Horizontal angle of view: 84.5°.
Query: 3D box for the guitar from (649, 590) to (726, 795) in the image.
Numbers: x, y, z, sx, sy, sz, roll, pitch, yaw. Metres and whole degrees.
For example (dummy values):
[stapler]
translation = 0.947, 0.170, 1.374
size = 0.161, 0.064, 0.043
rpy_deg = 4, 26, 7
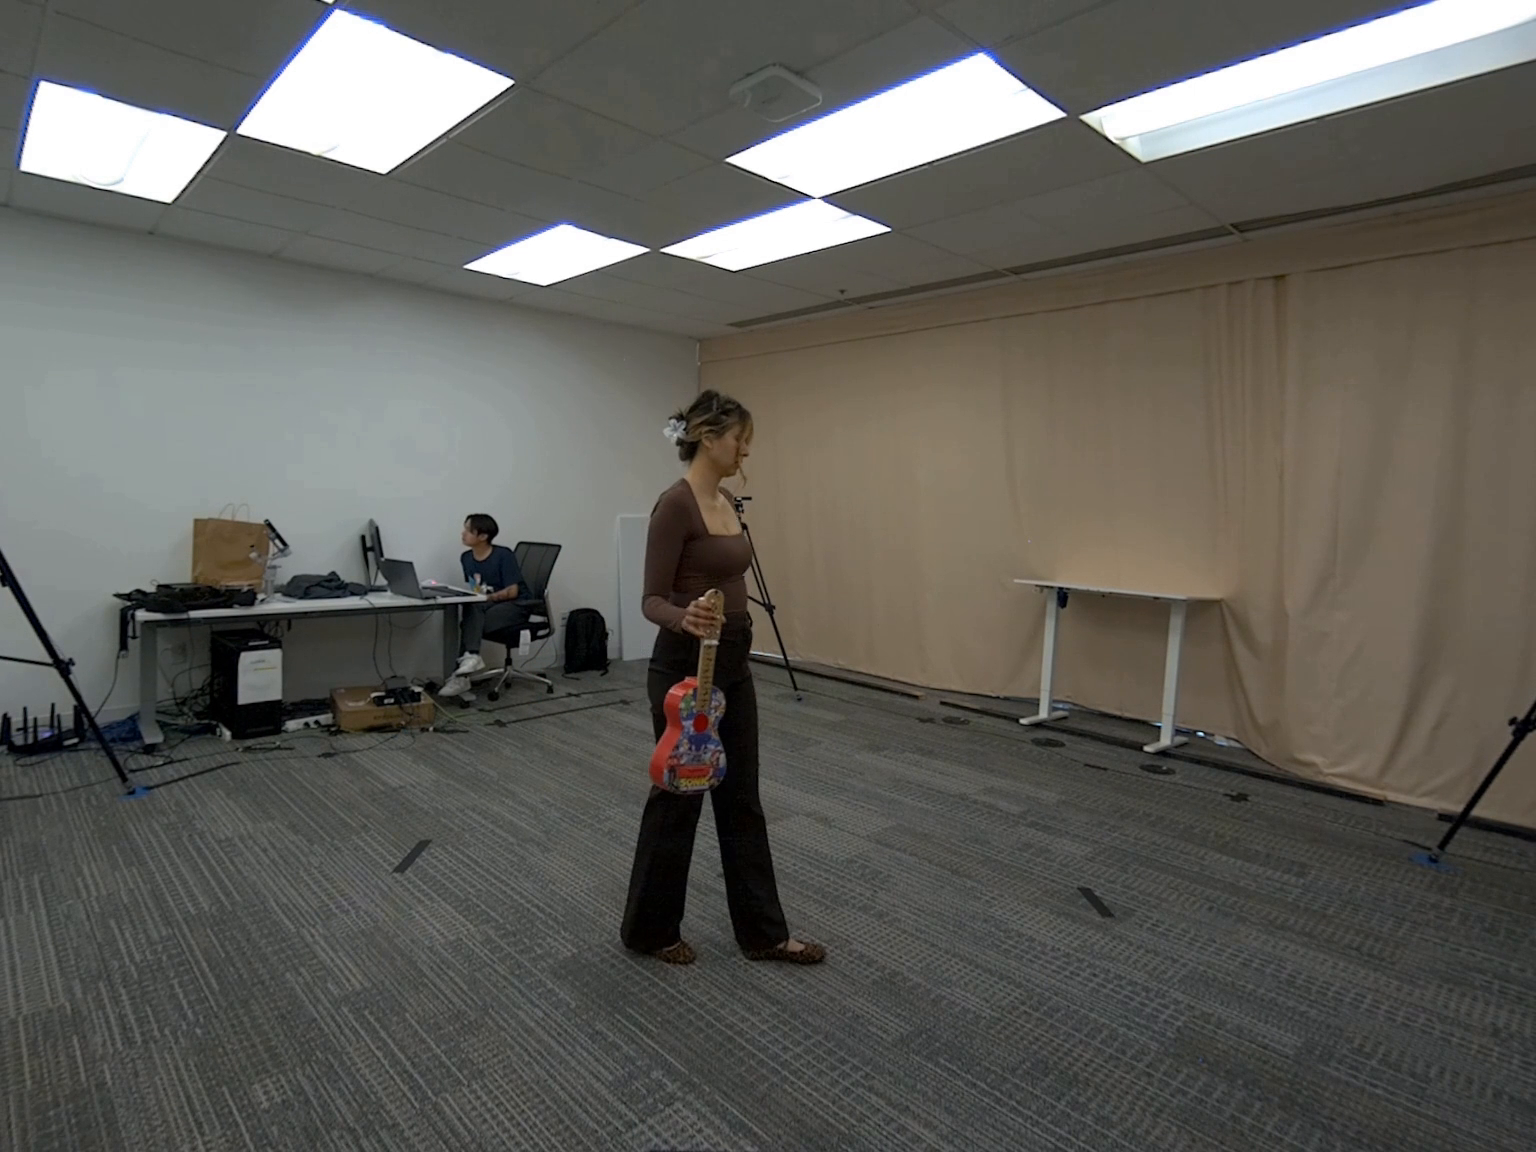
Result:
[guitar]
translation = -0.155, 0.288, 2.096
size = 0.187, 0.499, 0.072
rpy_deg = 19, -8, -41
